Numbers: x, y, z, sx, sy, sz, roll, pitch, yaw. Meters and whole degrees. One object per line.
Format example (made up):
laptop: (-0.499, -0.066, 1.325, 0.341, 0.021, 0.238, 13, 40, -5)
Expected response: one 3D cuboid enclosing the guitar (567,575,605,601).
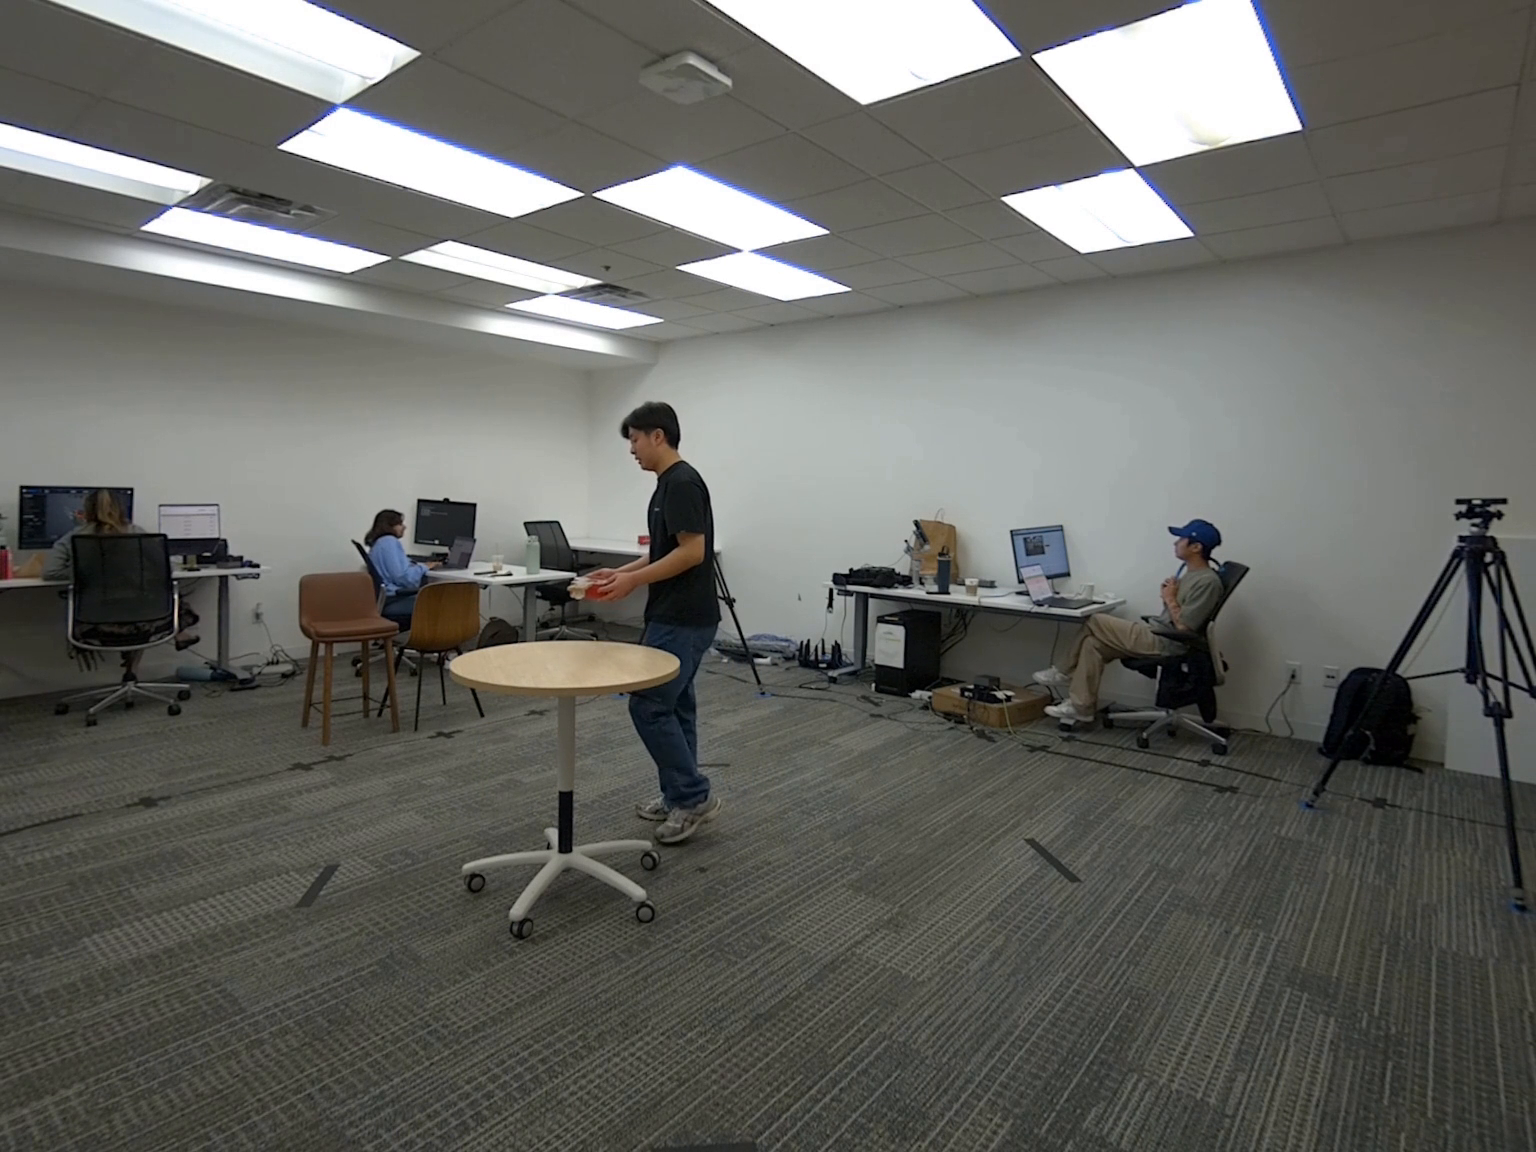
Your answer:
guitar: (-0.727, 0.042, 3.257, 0.196, 0.070, 0.492, 7, 6, 11)
